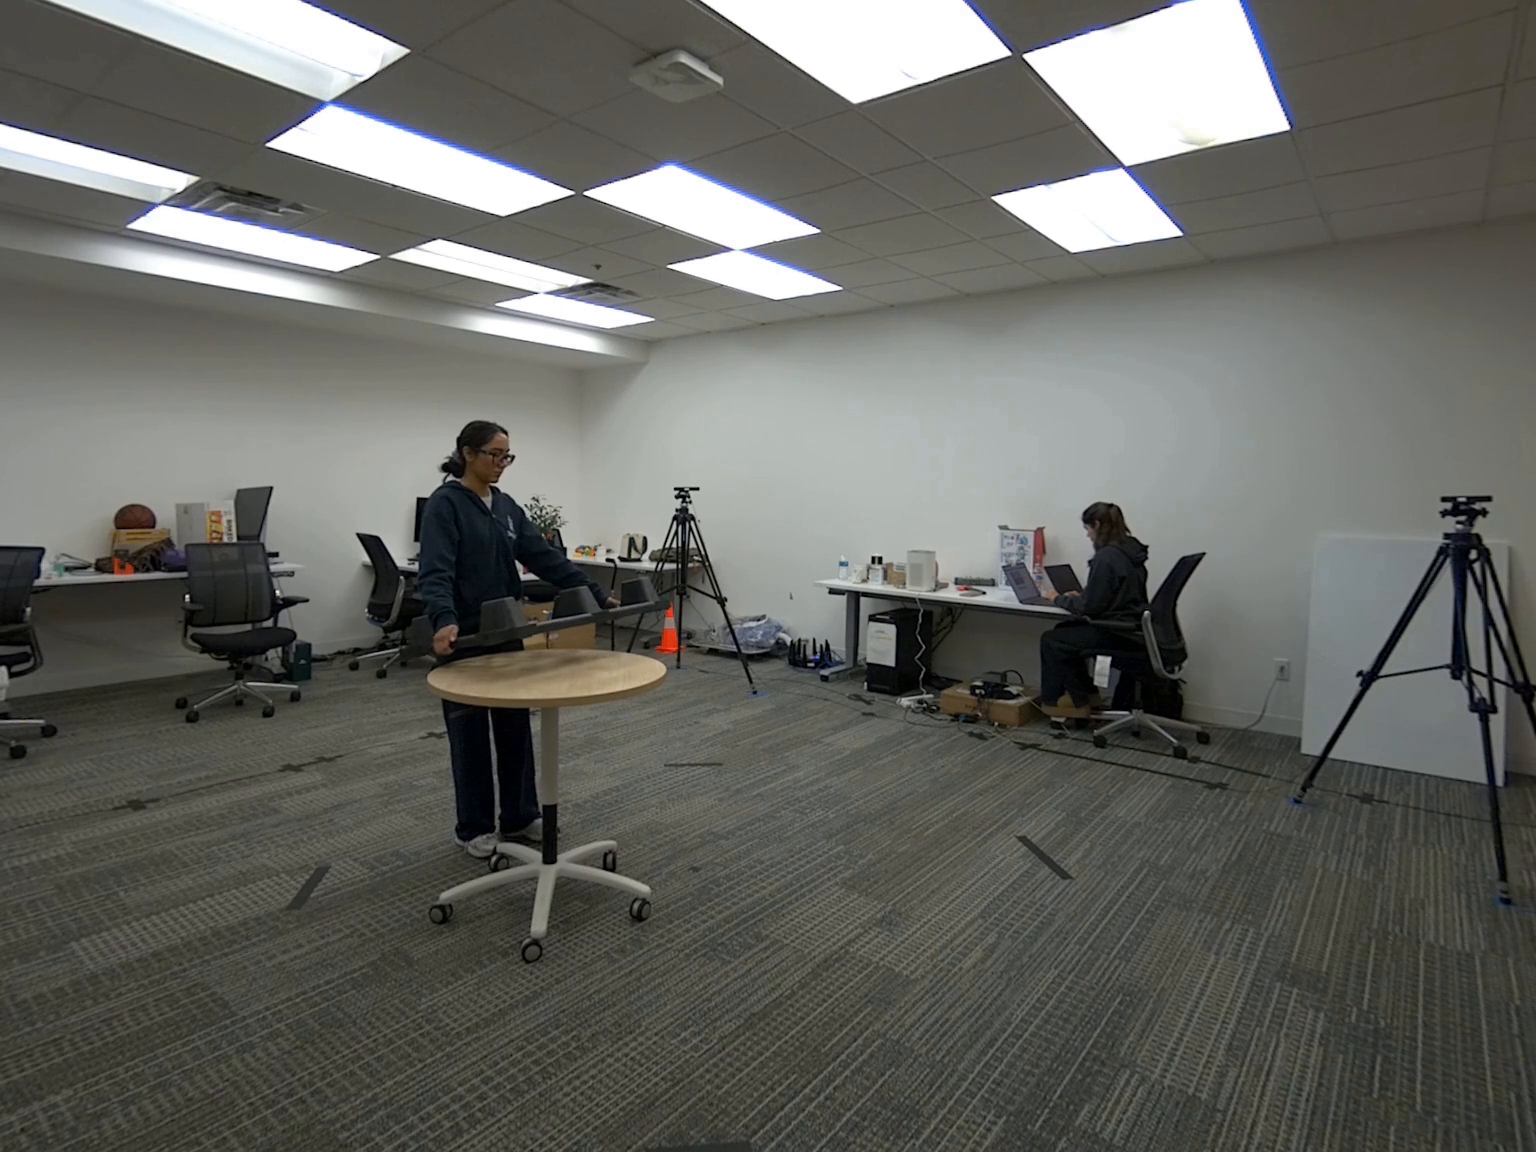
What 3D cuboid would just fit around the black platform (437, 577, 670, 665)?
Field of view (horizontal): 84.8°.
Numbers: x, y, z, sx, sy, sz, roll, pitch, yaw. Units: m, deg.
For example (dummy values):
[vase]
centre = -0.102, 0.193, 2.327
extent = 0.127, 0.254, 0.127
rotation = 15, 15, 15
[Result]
[black platform]
centre = -0.831, 0.145, 3.073
extent = 0.618, 0.144, 0.785
rotation = -13, -1, 32
